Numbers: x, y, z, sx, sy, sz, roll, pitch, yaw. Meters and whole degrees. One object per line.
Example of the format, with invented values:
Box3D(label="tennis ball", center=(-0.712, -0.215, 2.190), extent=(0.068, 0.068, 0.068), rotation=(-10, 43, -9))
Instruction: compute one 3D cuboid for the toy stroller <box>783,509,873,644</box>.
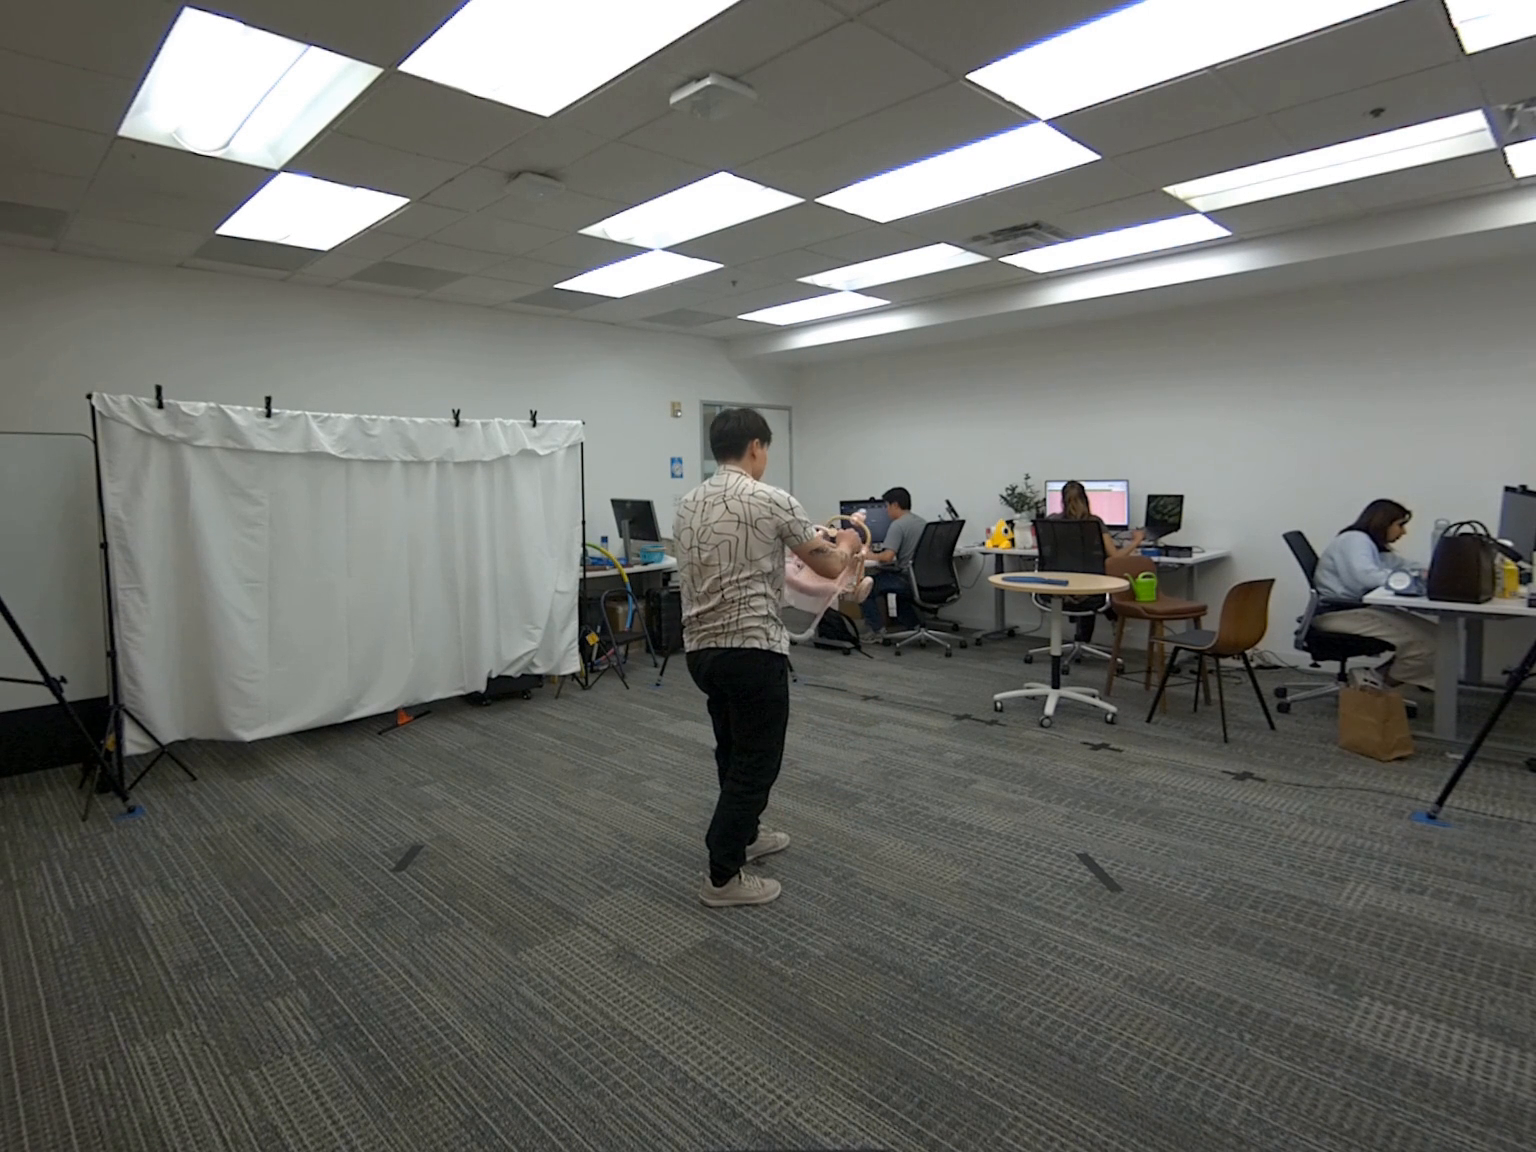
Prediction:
Box3D(label="toy stroller", center=(0.214, -0.024, 3.184), extent=(0.289, 0.335, 0.530), rotation=(29, 36, 21))
